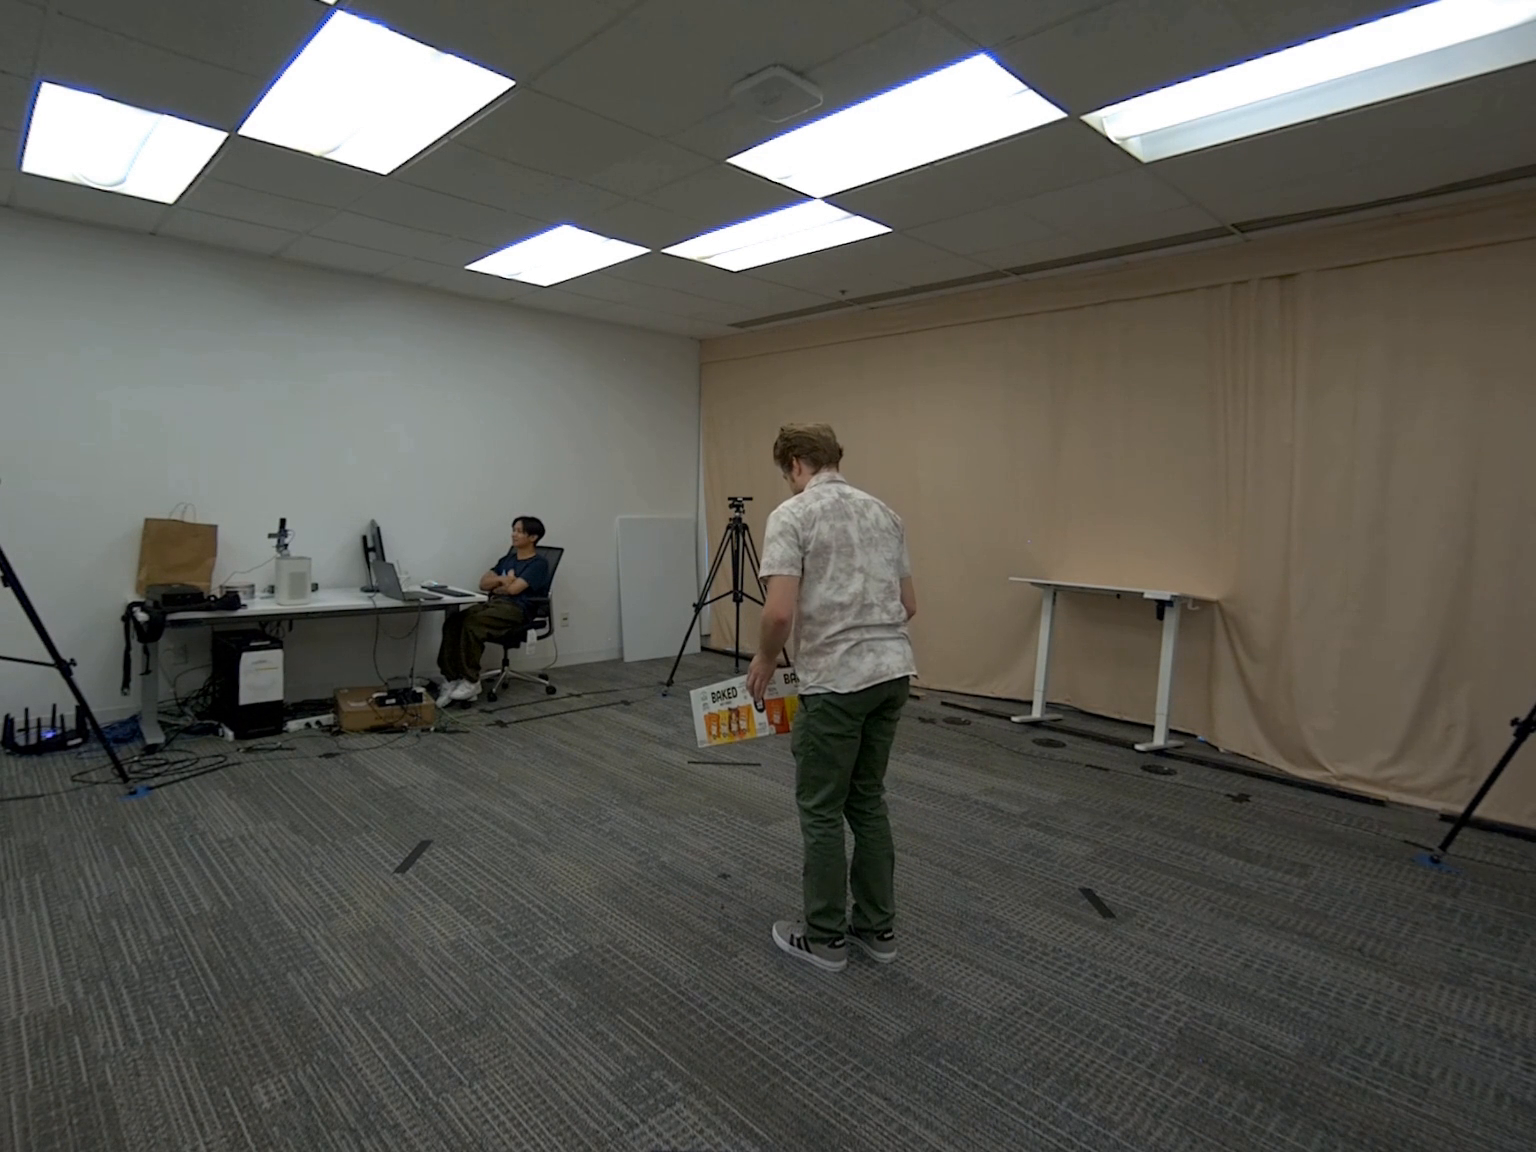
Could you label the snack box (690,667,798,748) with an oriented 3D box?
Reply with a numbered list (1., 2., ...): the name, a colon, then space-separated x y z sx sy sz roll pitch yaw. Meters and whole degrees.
1. snack box: -0.011 0.457 2.908 0.332 0.208 0.410 0 -16 -38
